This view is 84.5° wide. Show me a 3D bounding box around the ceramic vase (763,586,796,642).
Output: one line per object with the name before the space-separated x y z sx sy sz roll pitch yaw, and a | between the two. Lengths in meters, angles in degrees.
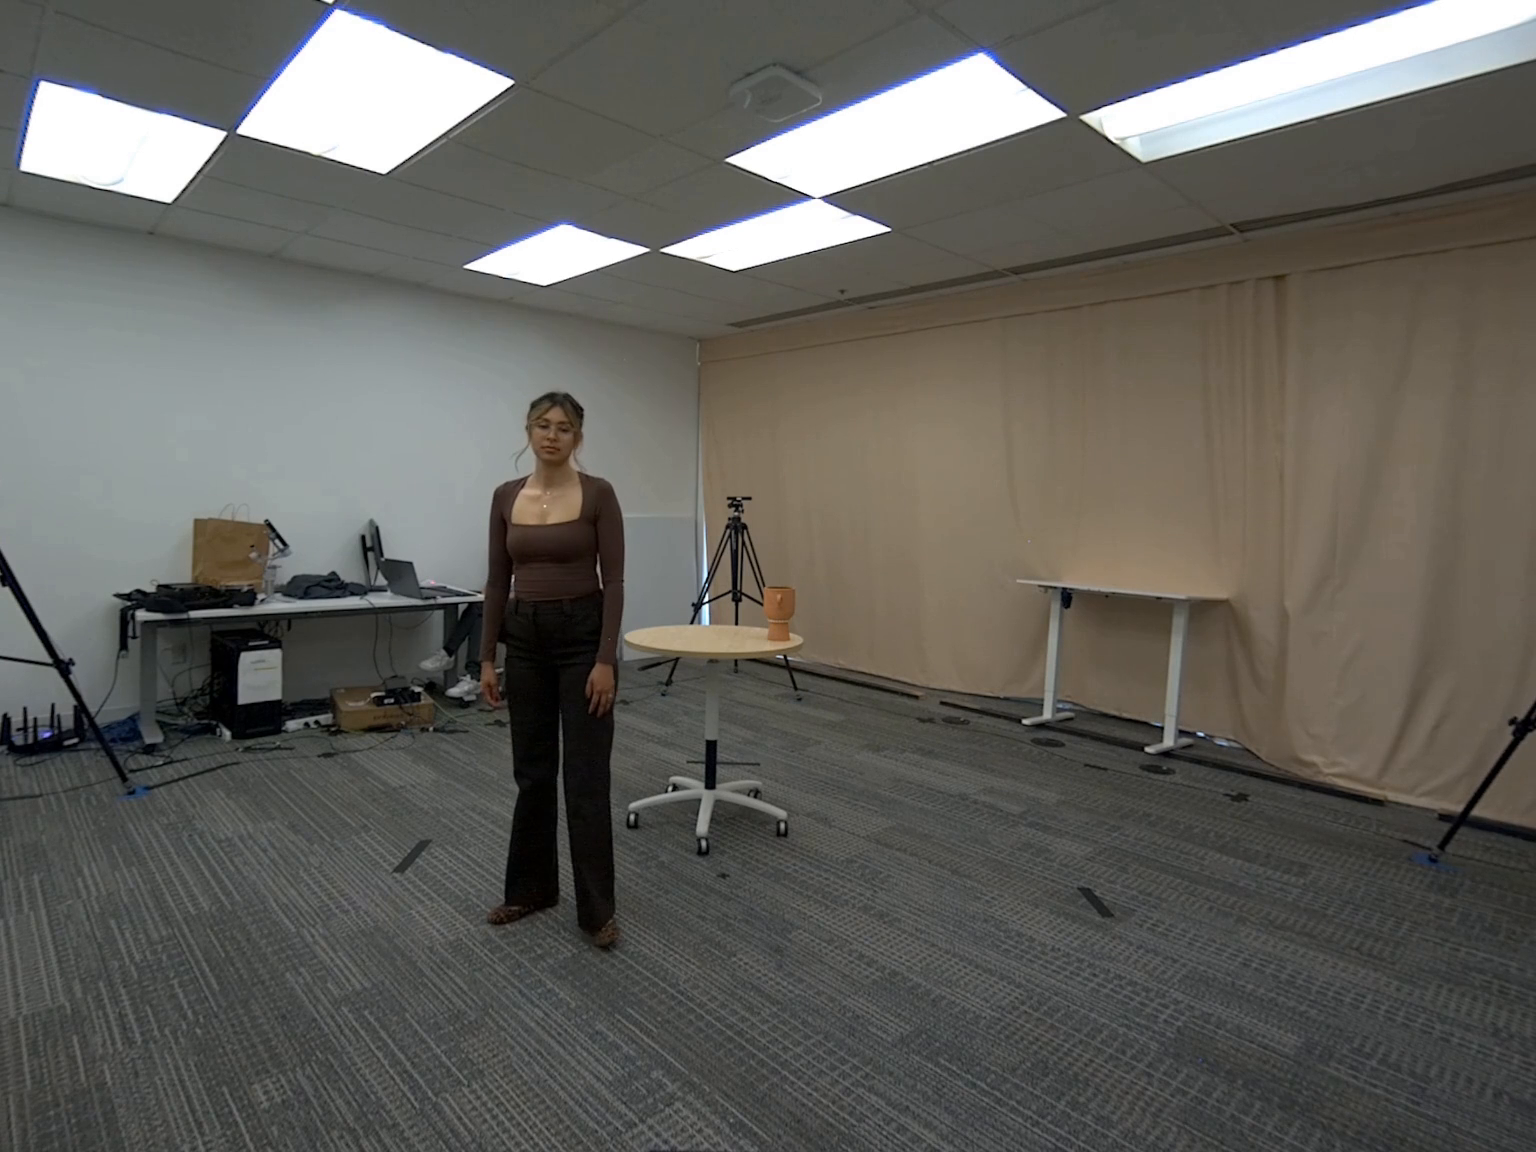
ceramic vase | 0.036 0.158 3.580 0.138 0.219 0.155 4 4 42
